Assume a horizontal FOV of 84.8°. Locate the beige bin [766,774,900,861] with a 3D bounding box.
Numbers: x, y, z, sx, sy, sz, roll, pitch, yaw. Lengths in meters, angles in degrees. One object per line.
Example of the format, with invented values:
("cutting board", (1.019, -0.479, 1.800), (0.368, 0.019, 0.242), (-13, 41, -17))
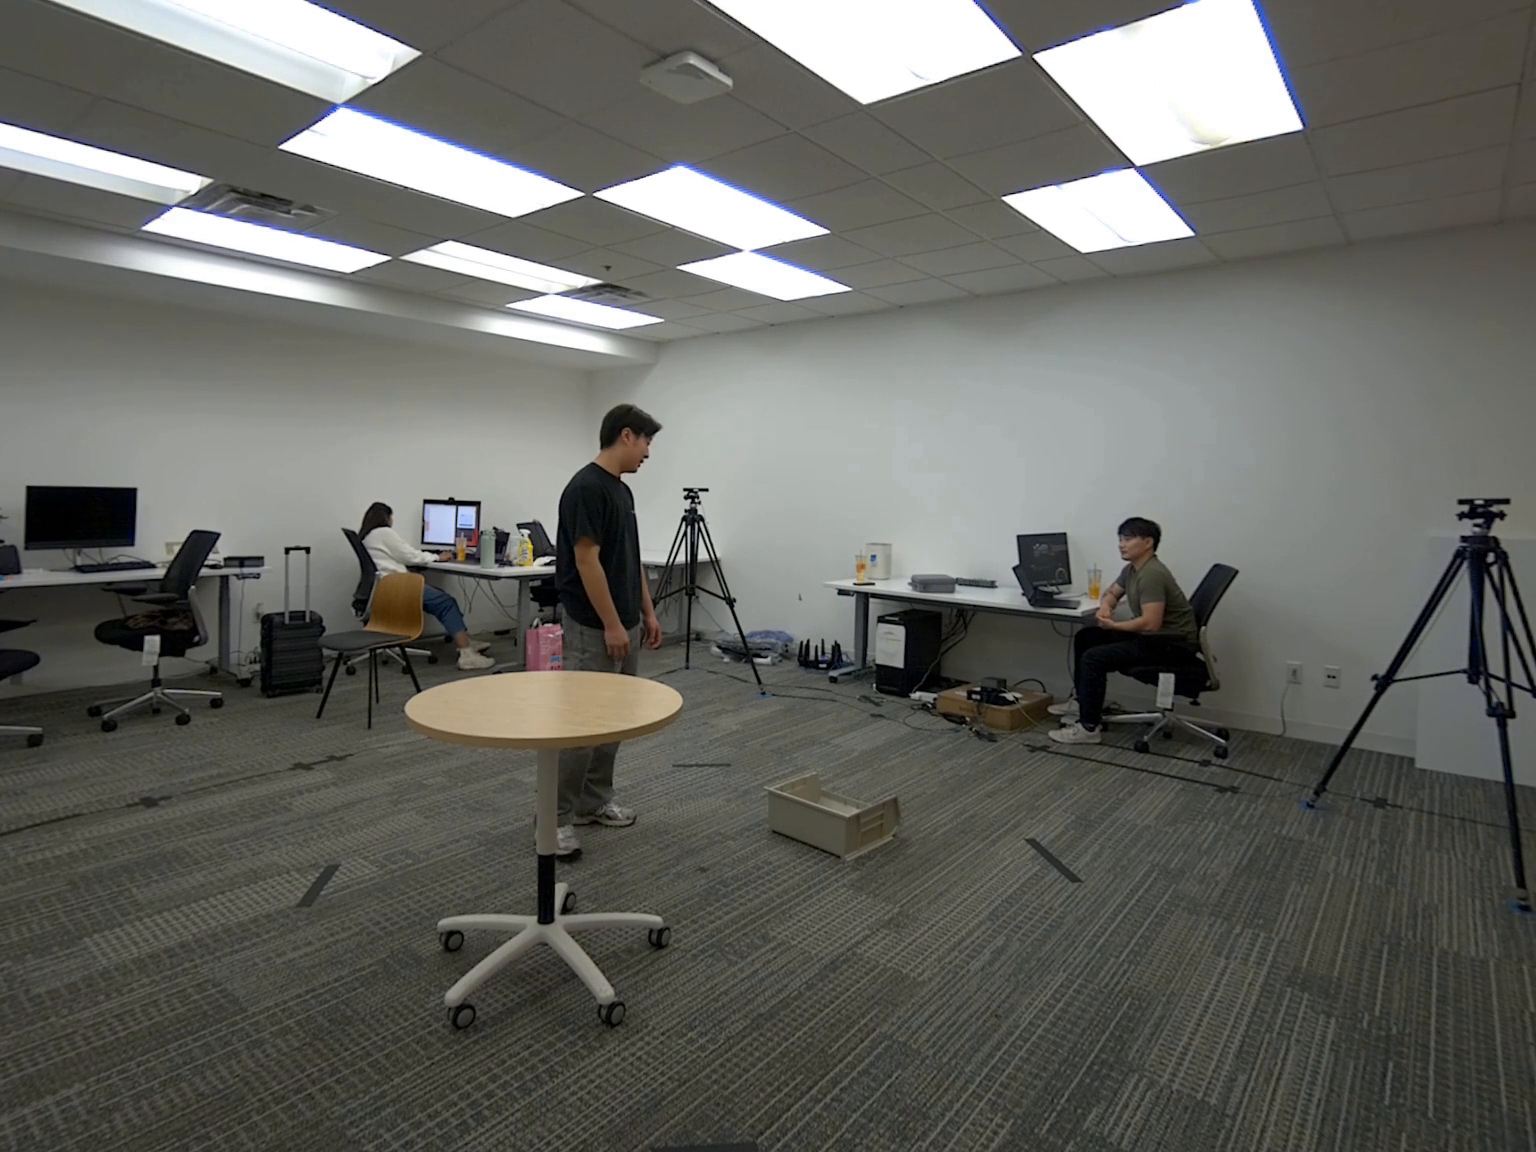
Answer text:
("beige bin", (0.251, 0.952, 3.459), (0.437, 0.188, 0.366), (6, 9, 42))
